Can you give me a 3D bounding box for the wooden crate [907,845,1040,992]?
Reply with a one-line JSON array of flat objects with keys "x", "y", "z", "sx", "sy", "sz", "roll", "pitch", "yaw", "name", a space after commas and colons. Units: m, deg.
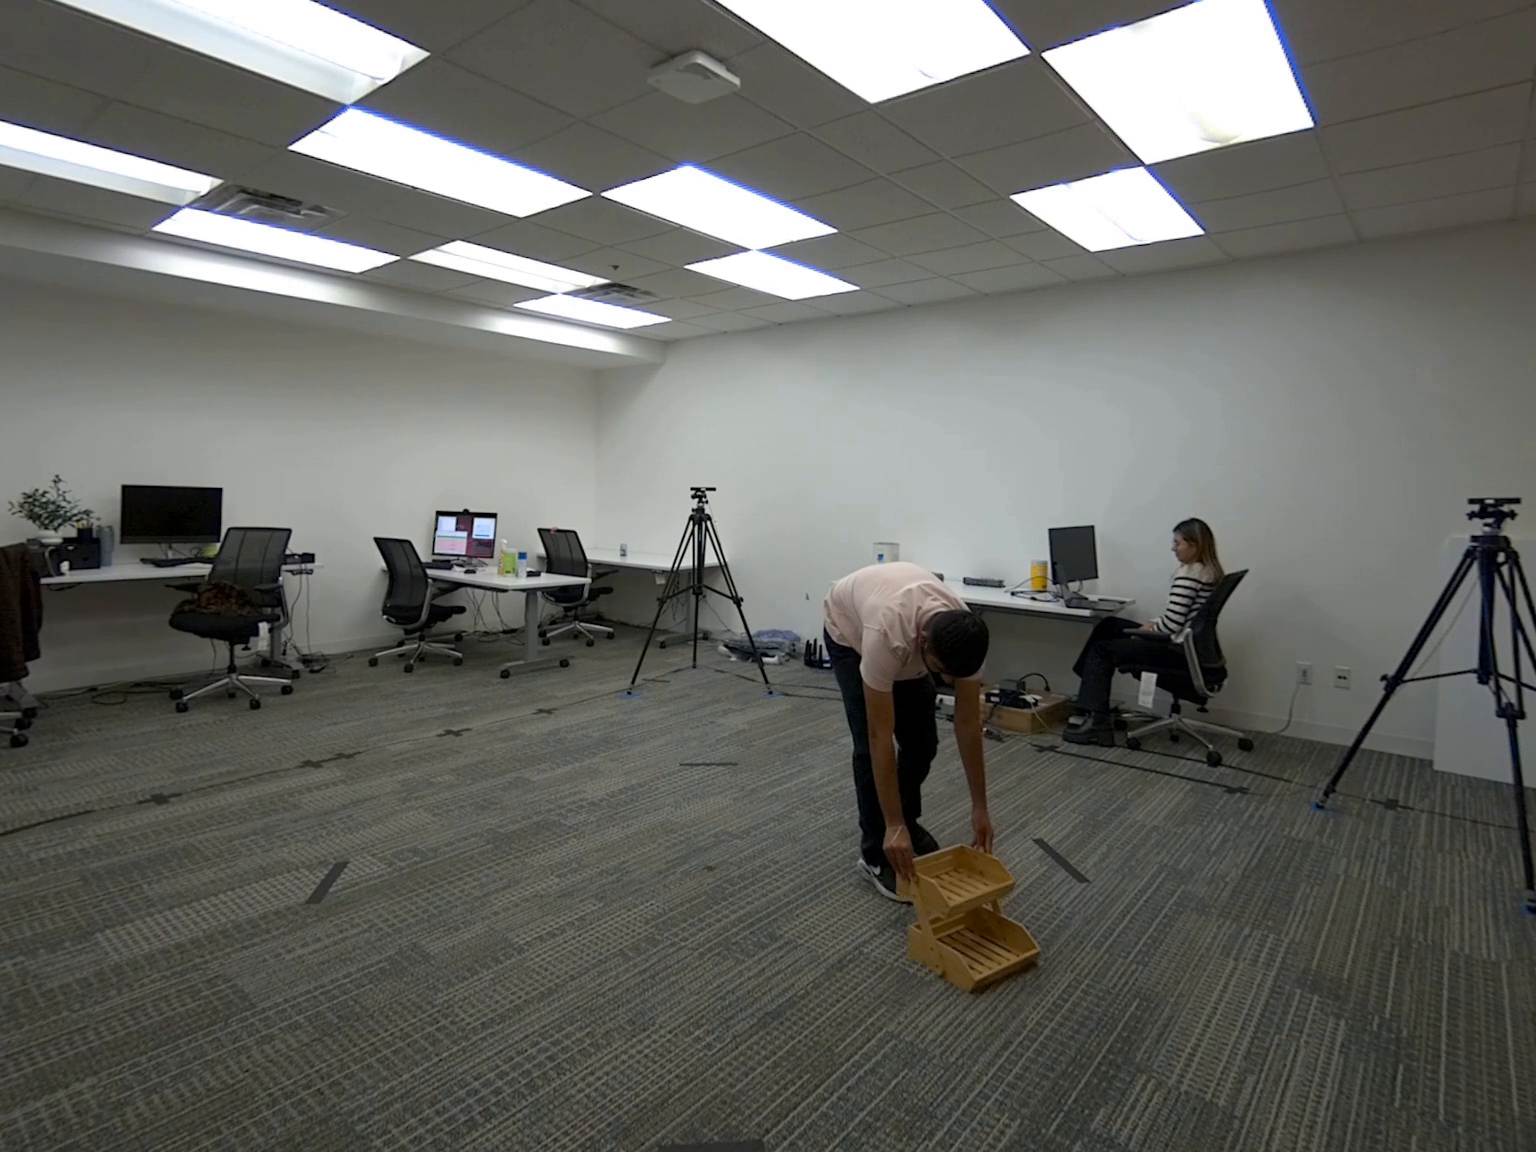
[{"x": 0.598, "y": 1.007, "z": 2.555, "sx": 0.315, "sy": 0.273, "sz": 0.312, "roll": -1, "pitch": 3, "yaw": -36, "name": "wooden crate"}]
